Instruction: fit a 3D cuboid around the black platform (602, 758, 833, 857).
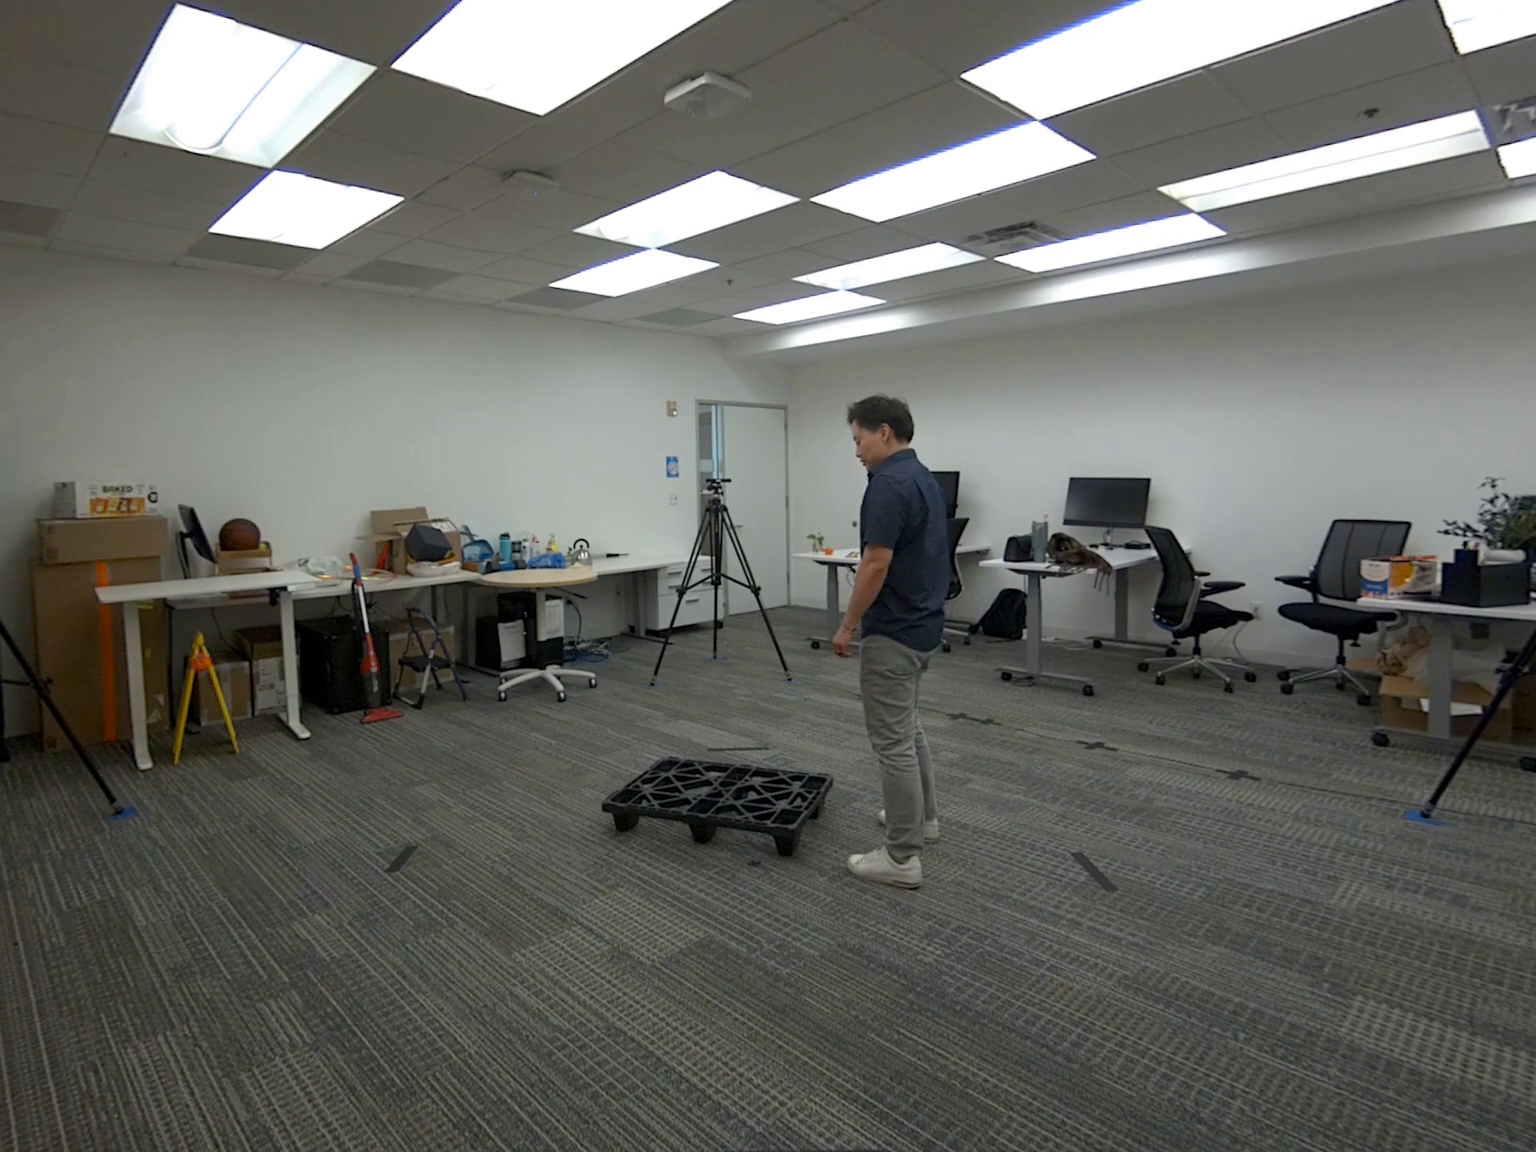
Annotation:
[{"bbox_3d":[-0.191,0.933,3.503,0.821,0.143,0.596,2,6,20],"label":"black platform"}]
